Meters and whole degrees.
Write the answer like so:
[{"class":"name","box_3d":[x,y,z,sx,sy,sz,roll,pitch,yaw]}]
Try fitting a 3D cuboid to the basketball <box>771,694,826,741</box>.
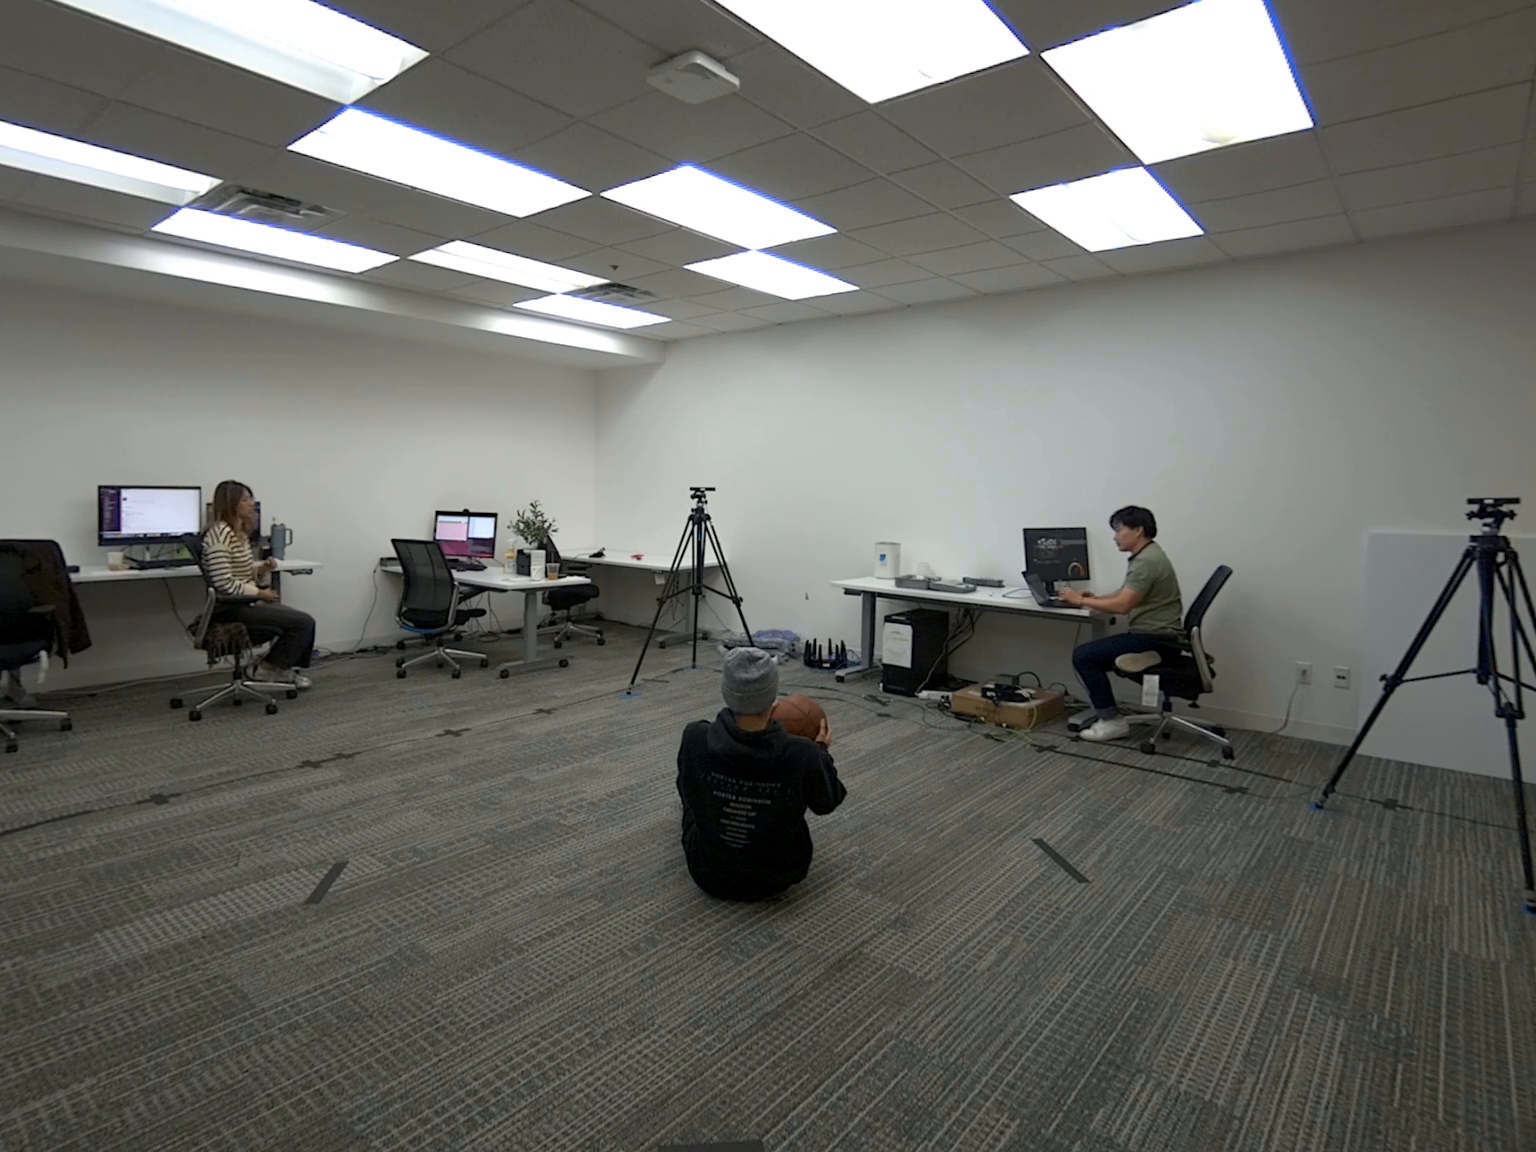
[{"class":"basketball","box_3d":[0.100,0.572,3.263,0.235,0.235,0.237,1,4,-2]}]
